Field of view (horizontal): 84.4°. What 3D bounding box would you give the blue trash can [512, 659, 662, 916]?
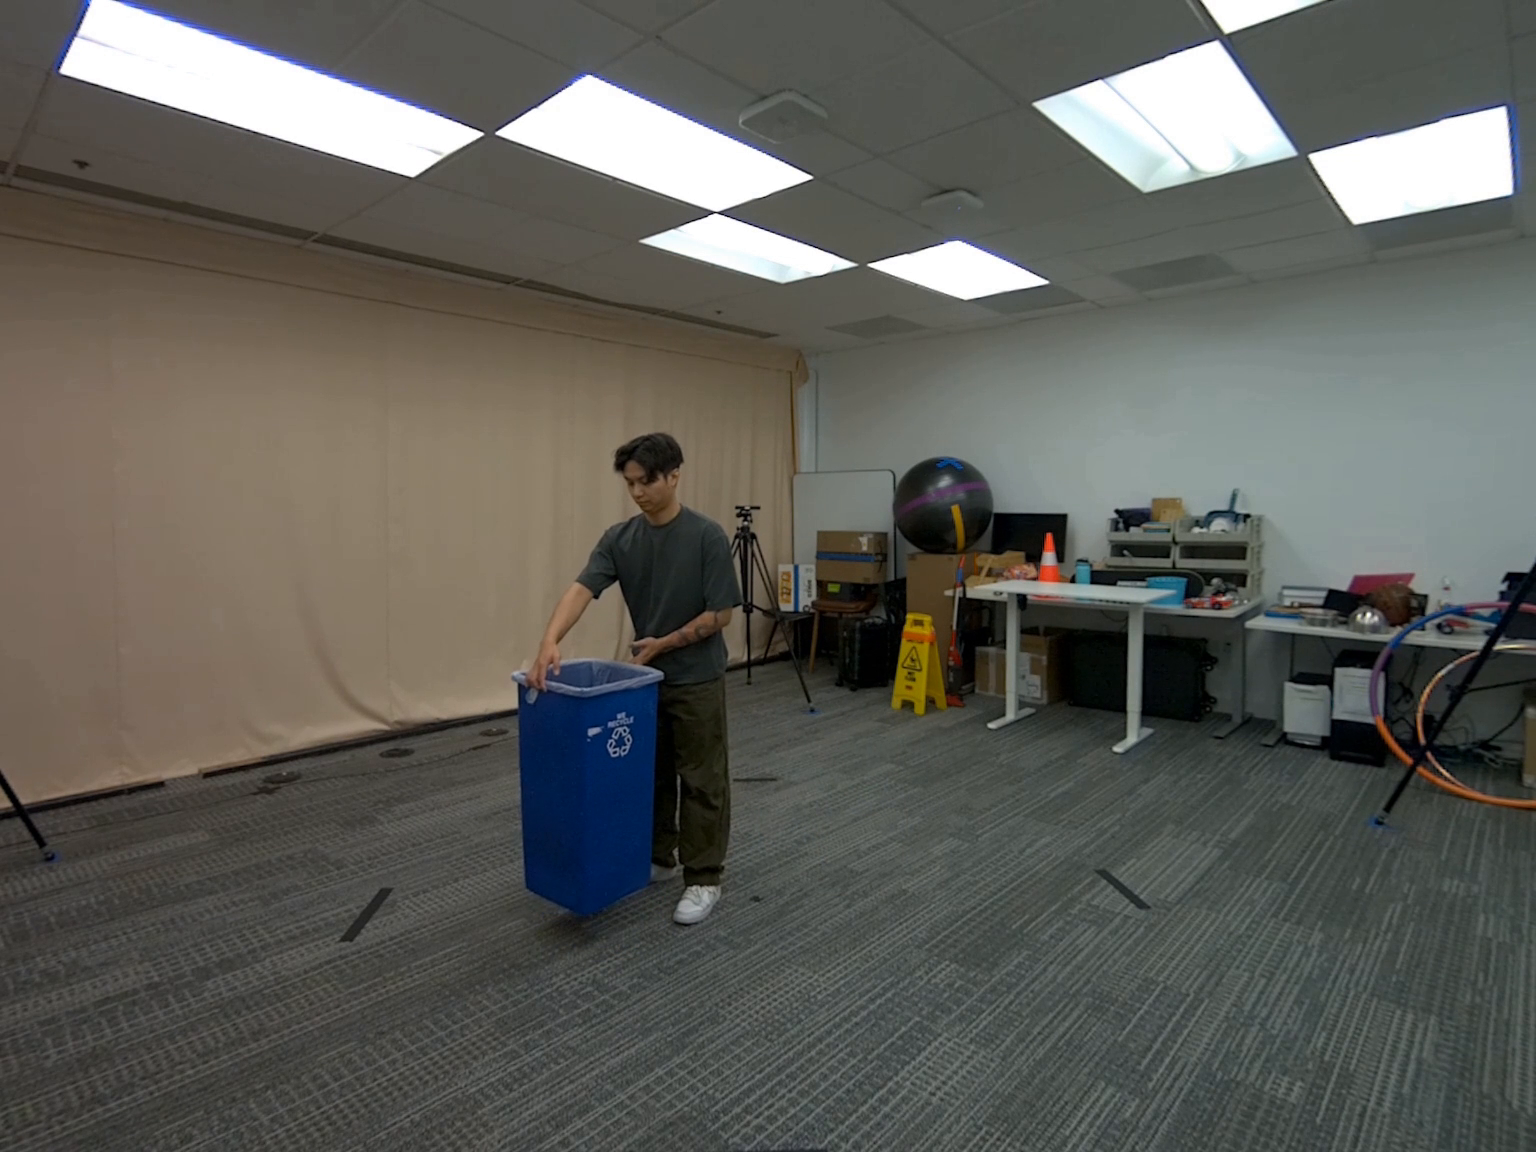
[{"bbox_3d":[-0.595,0.673,2.773,0.390,0.712,0.363,4,5,38],"label":"blue trash can"}]
